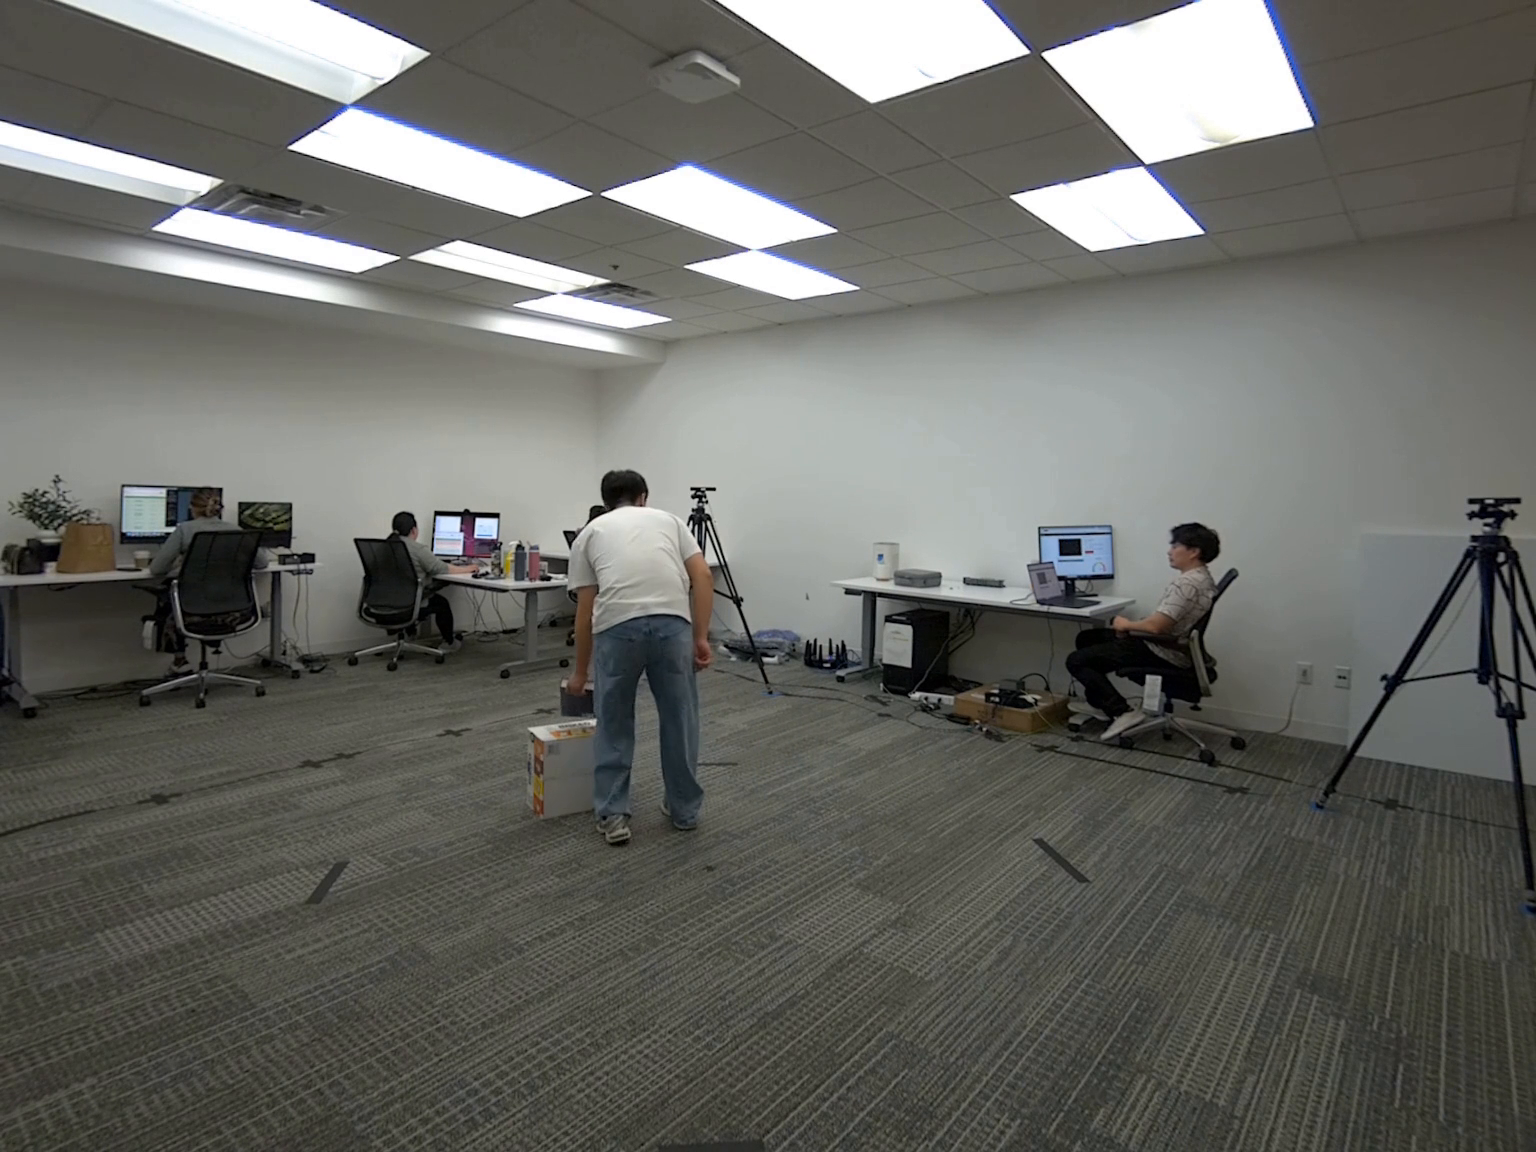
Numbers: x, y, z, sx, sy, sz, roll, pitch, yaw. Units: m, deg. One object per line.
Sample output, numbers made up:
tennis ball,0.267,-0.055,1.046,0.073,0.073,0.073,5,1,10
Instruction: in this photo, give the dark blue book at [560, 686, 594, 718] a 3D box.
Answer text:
dark blue book,-0.822,0.520,3.662,0.162,0.046,0.240,5,-37,-6
